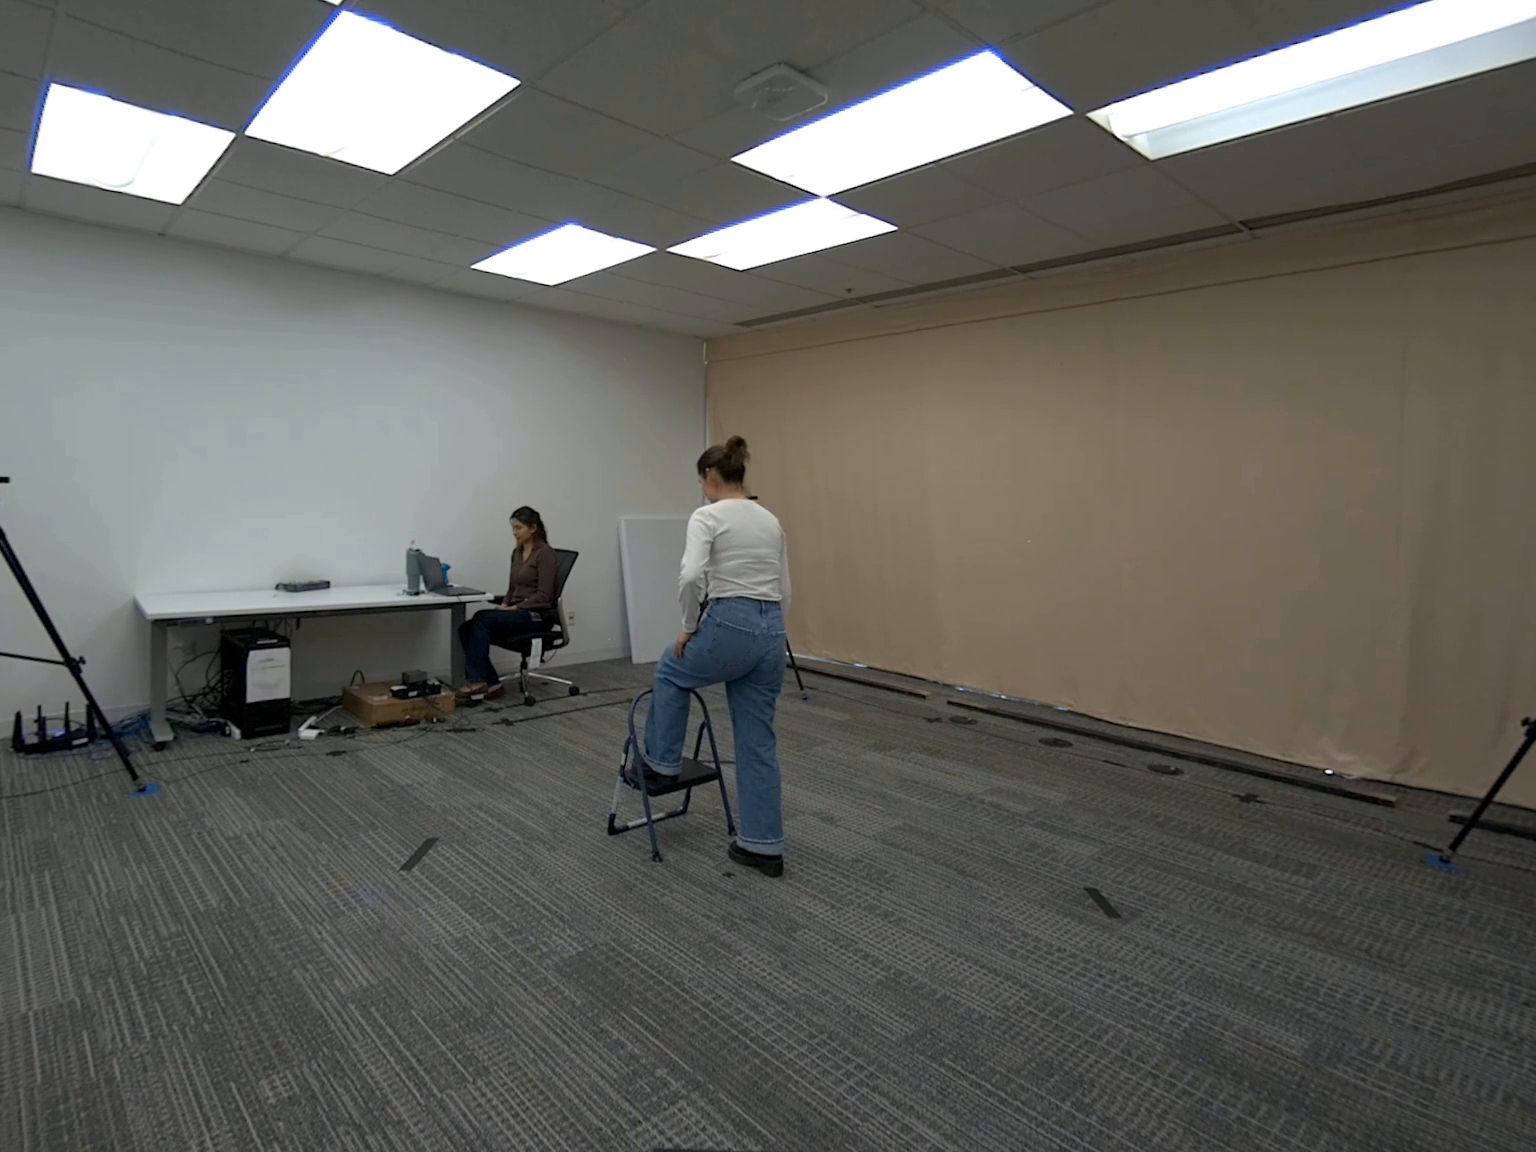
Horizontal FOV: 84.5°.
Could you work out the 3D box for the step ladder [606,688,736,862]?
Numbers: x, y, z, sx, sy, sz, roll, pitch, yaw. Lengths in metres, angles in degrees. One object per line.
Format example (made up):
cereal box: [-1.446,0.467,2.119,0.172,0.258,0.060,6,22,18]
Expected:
step ladder: [-0.392,0.764,3.451,0.421,0.604,0.358,-2,5,-44]
